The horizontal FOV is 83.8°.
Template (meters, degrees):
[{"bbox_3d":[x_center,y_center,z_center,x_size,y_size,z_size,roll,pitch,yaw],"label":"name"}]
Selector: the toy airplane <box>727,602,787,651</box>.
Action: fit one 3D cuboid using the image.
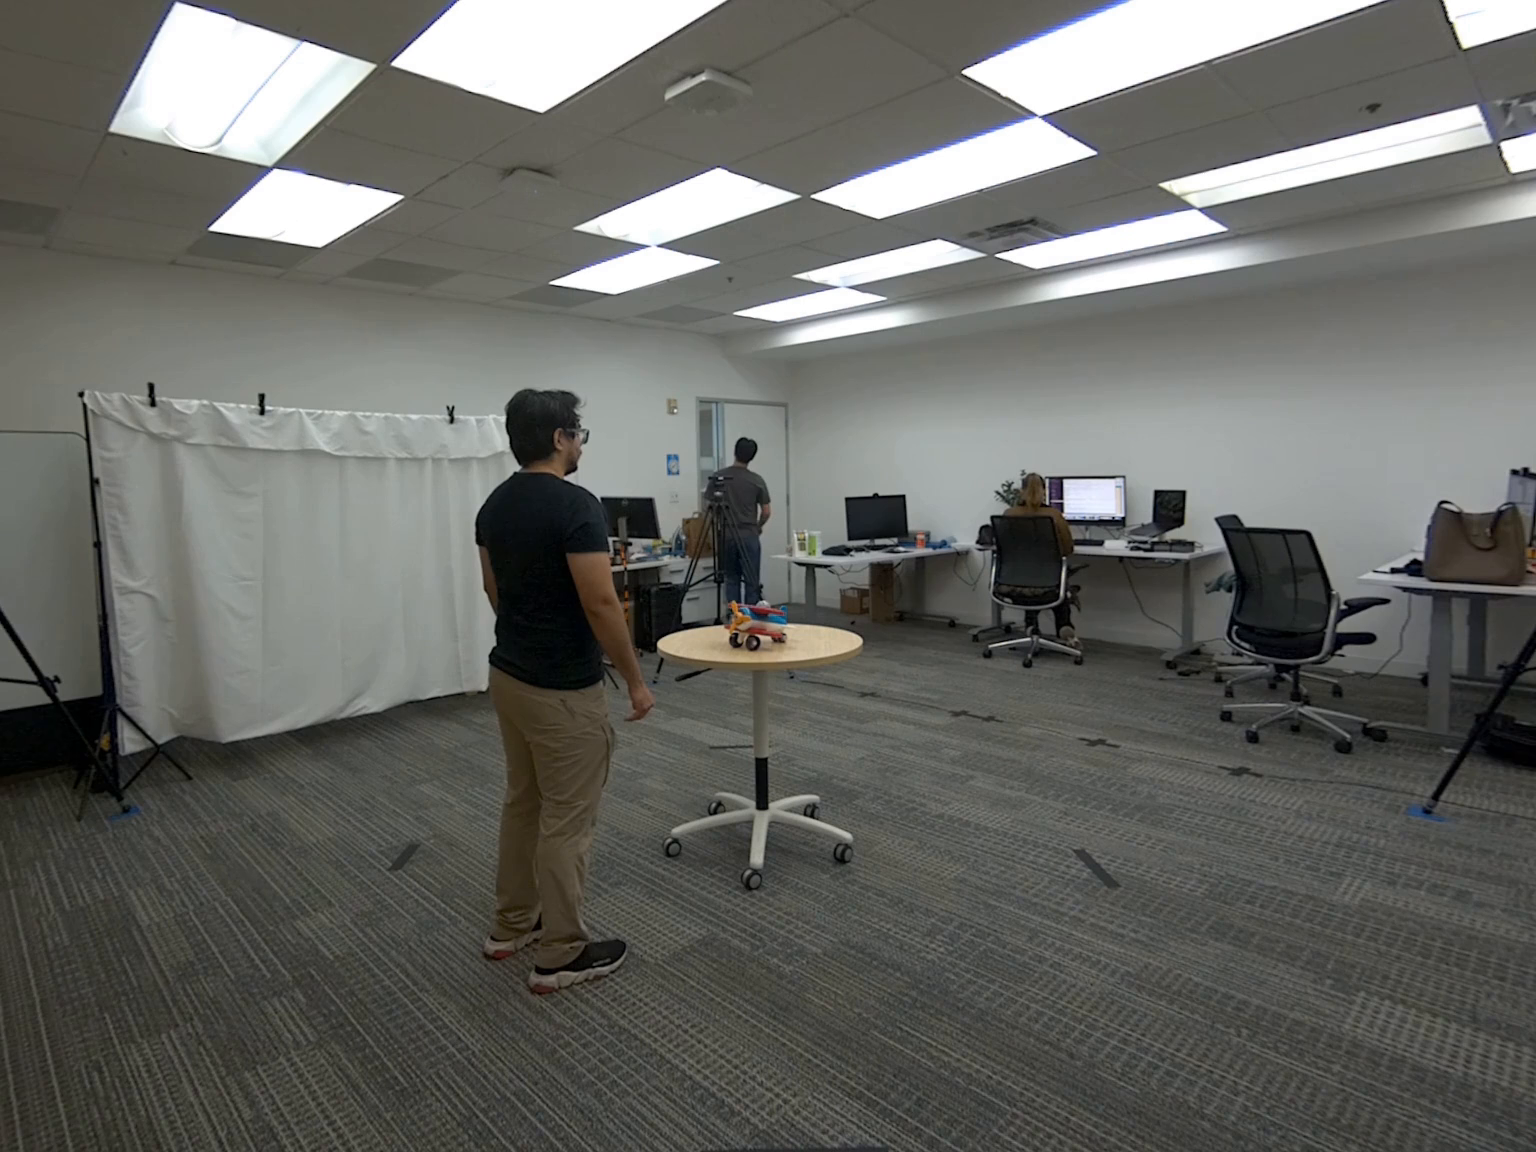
[{"bbox_3d":[-0.046,0.175,3.115,0.256,0.155,0.256,1,8,20],"label":"toy airplane"}]
